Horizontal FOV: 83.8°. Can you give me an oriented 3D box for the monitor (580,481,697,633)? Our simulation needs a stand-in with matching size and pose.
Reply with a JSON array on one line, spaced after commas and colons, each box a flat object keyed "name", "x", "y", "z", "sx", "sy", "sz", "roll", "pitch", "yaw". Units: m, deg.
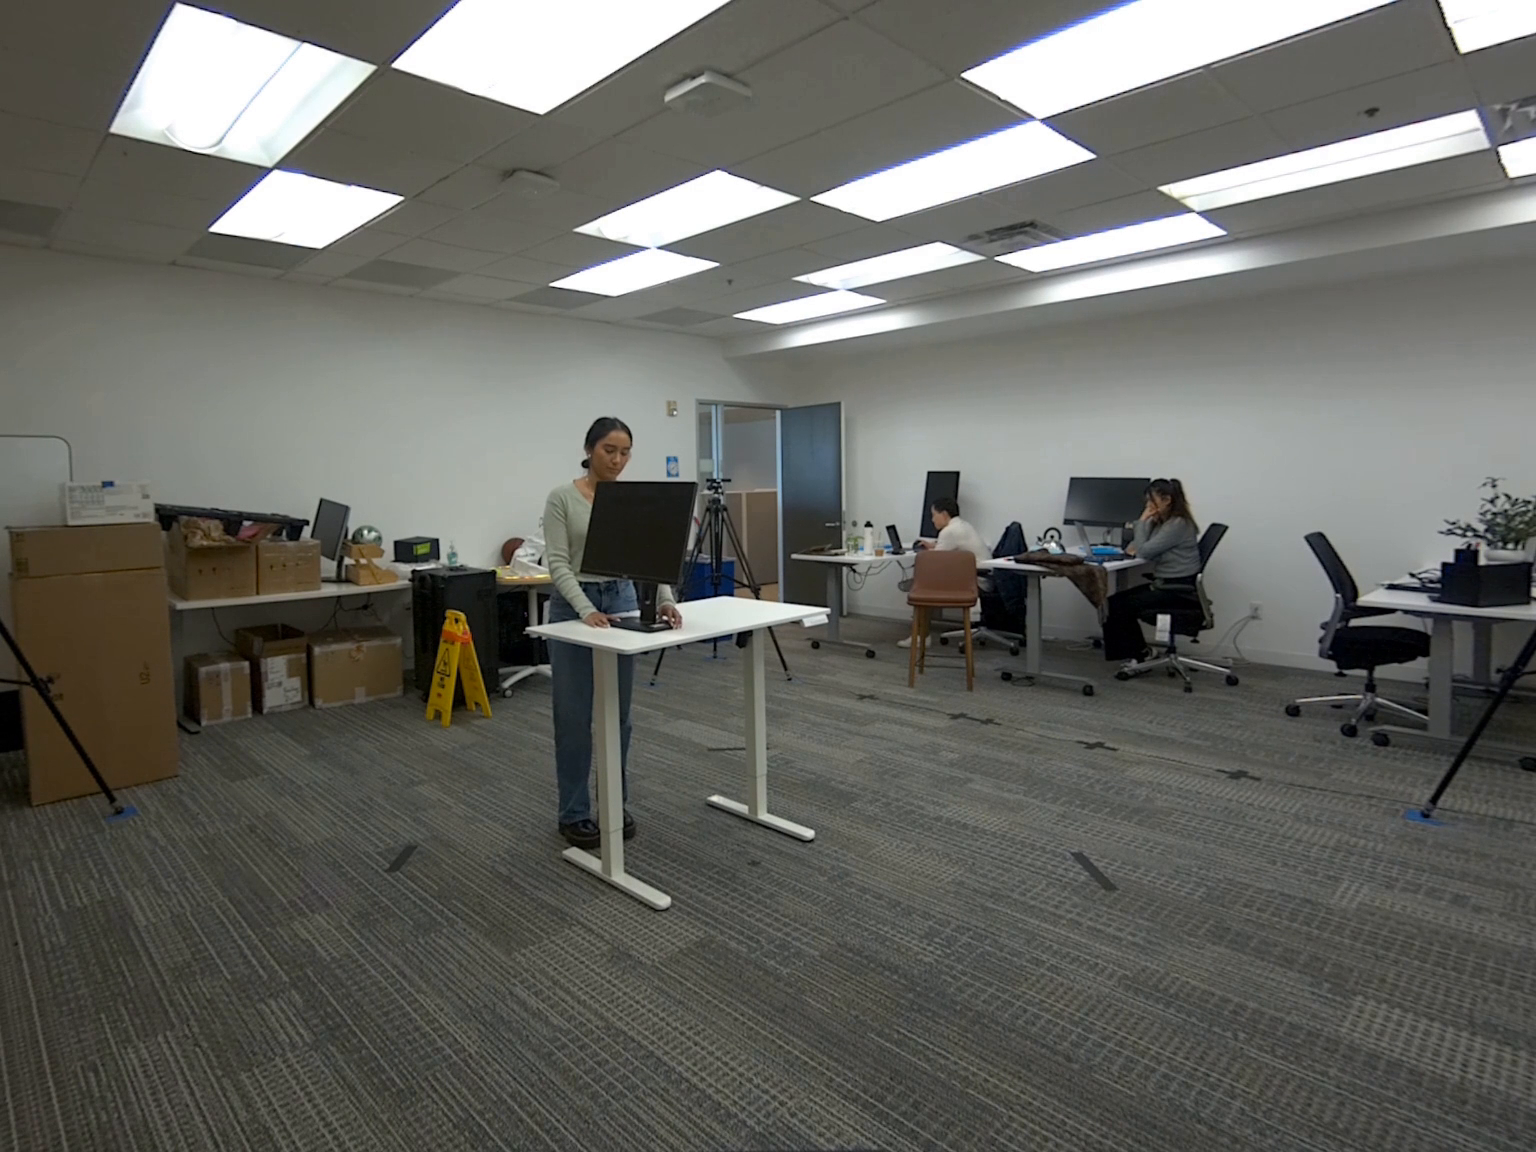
[{"name": "monitor", "x": -0.446, "y": -0.079, "z": 3.031, "sx": 0.547, "sy": 0.512, "sz": 0.170, "roll": 6, "pitch": 10, "yaw": 42}]
